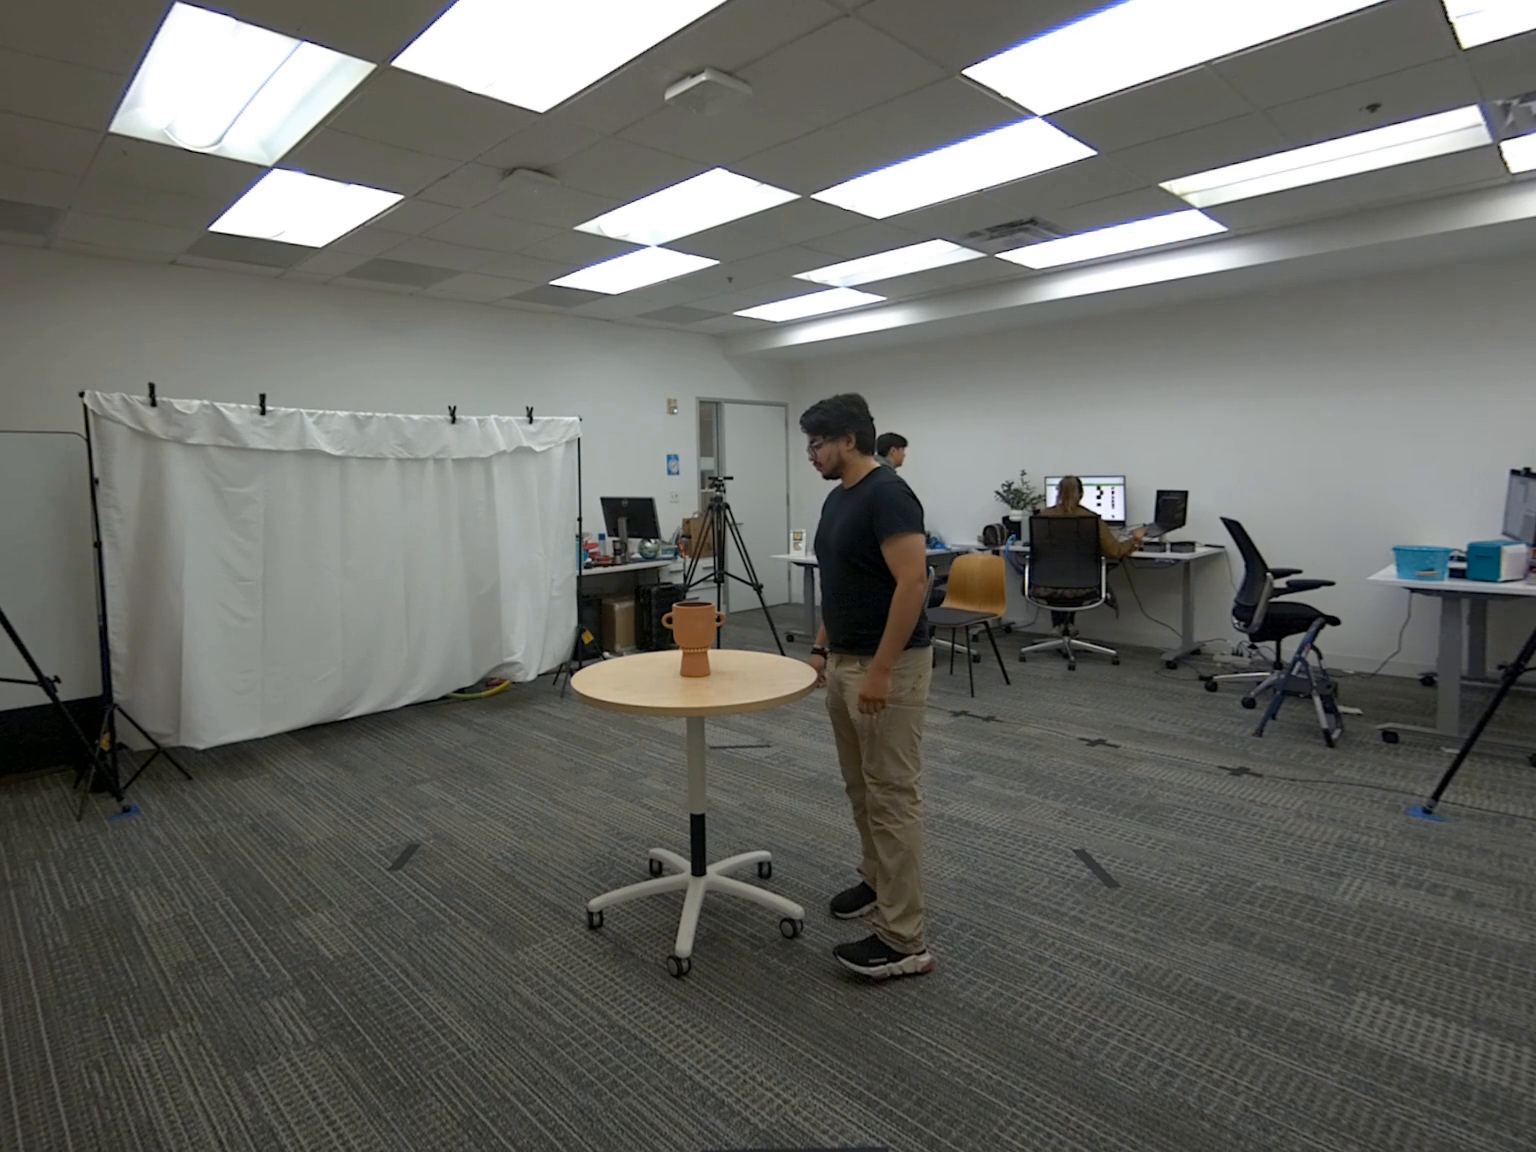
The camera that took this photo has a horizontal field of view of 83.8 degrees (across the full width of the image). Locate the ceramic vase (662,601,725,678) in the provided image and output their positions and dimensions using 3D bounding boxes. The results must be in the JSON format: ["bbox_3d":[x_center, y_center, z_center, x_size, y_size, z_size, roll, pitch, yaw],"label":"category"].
[{"bbox_3d":[-0.225,0.195,2.679,0.163,0.219,0.131,0,4,31],"label":"ceramic vase"}]
